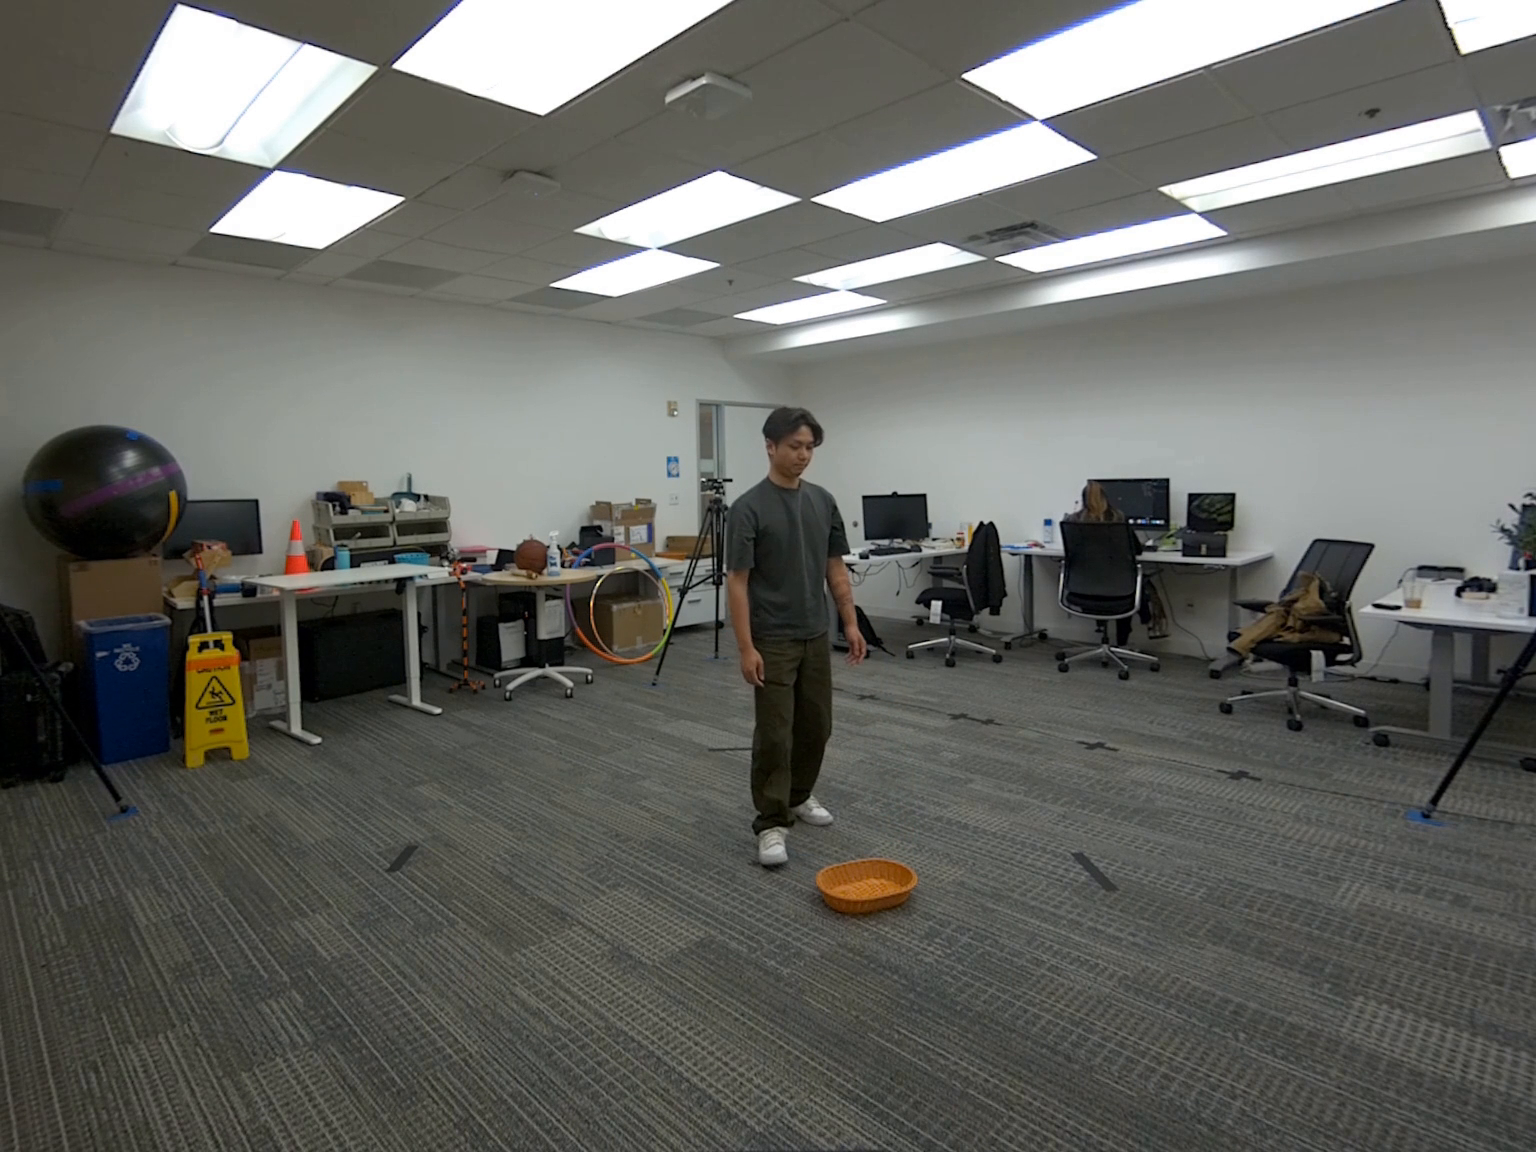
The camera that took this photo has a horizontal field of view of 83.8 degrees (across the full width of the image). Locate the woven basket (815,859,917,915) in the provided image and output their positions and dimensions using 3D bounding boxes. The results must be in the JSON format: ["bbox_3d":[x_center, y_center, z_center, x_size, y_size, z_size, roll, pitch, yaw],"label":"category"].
[{"bbox_3d":[0.328,1.034,2.833,0.344,0.073,0.258,-3,7,-19],"label":"woven basket"}]
